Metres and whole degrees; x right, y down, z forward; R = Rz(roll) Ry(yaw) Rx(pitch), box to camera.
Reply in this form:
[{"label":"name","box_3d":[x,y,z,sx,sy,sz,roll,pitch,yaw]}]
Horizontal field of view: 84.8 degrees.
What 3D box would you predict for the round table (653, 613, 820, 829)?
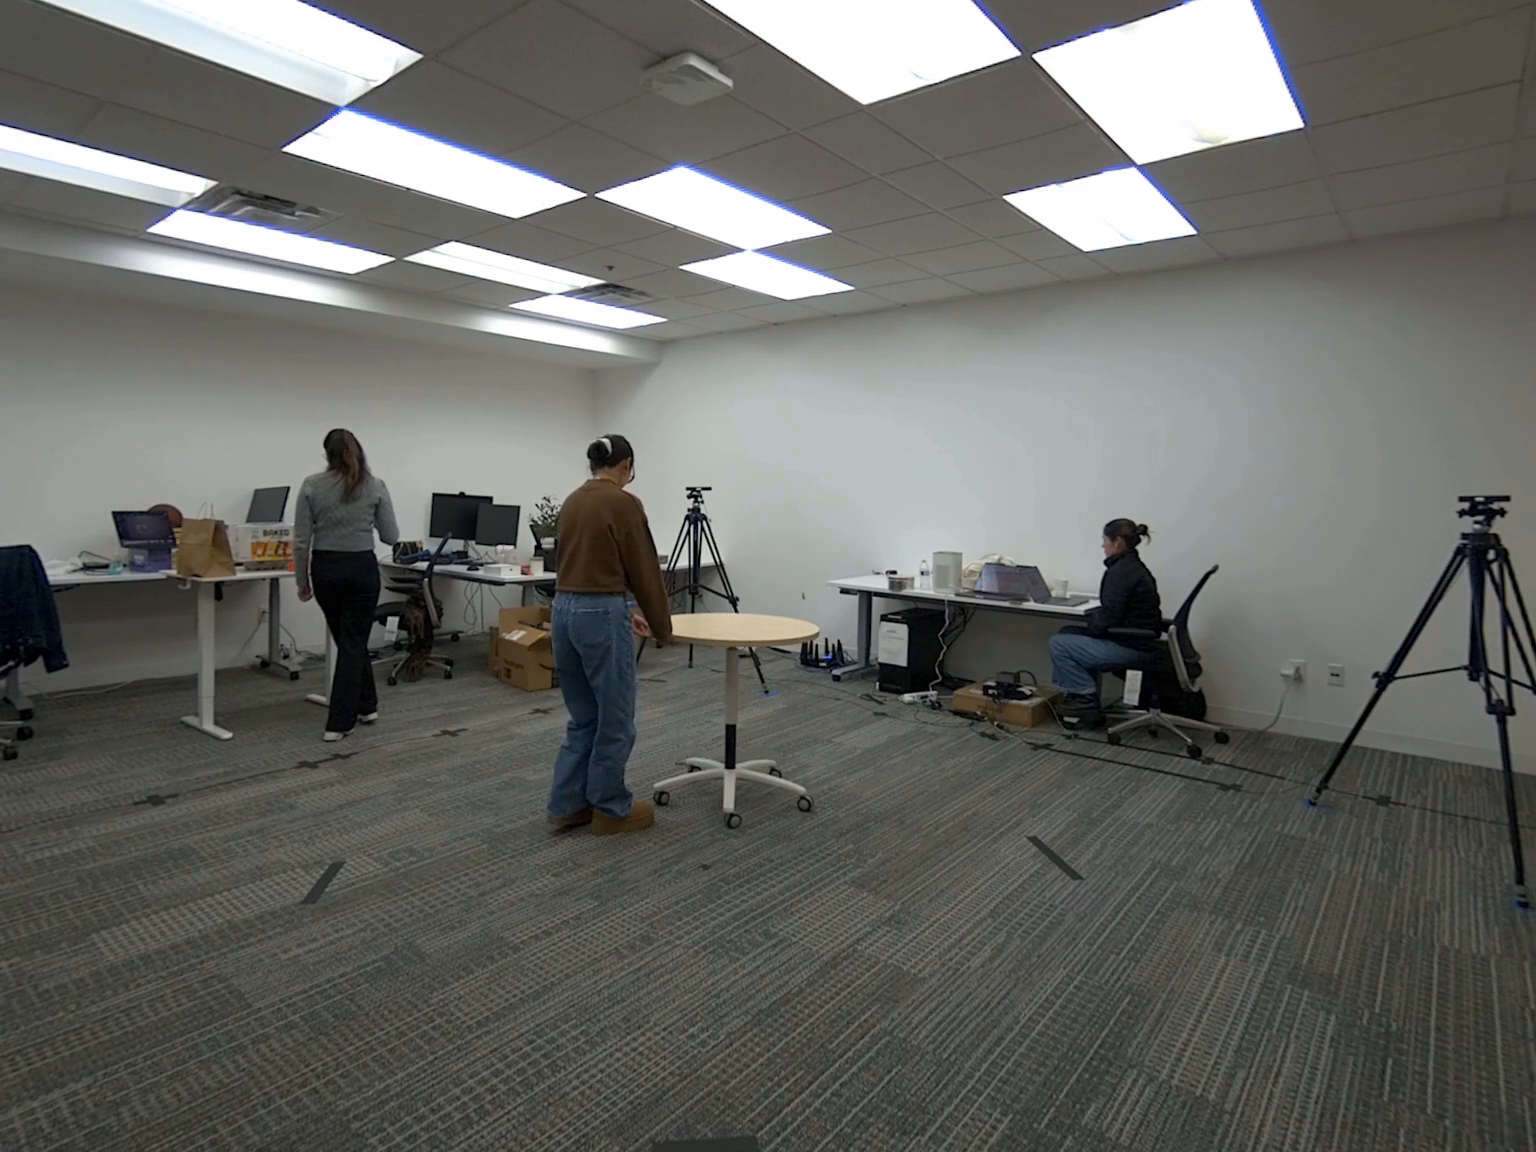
[{"label":"round table","box_3d":[-0.174,0.610,3.800,0.763,0.792,0.767,1,3,-2]}]
